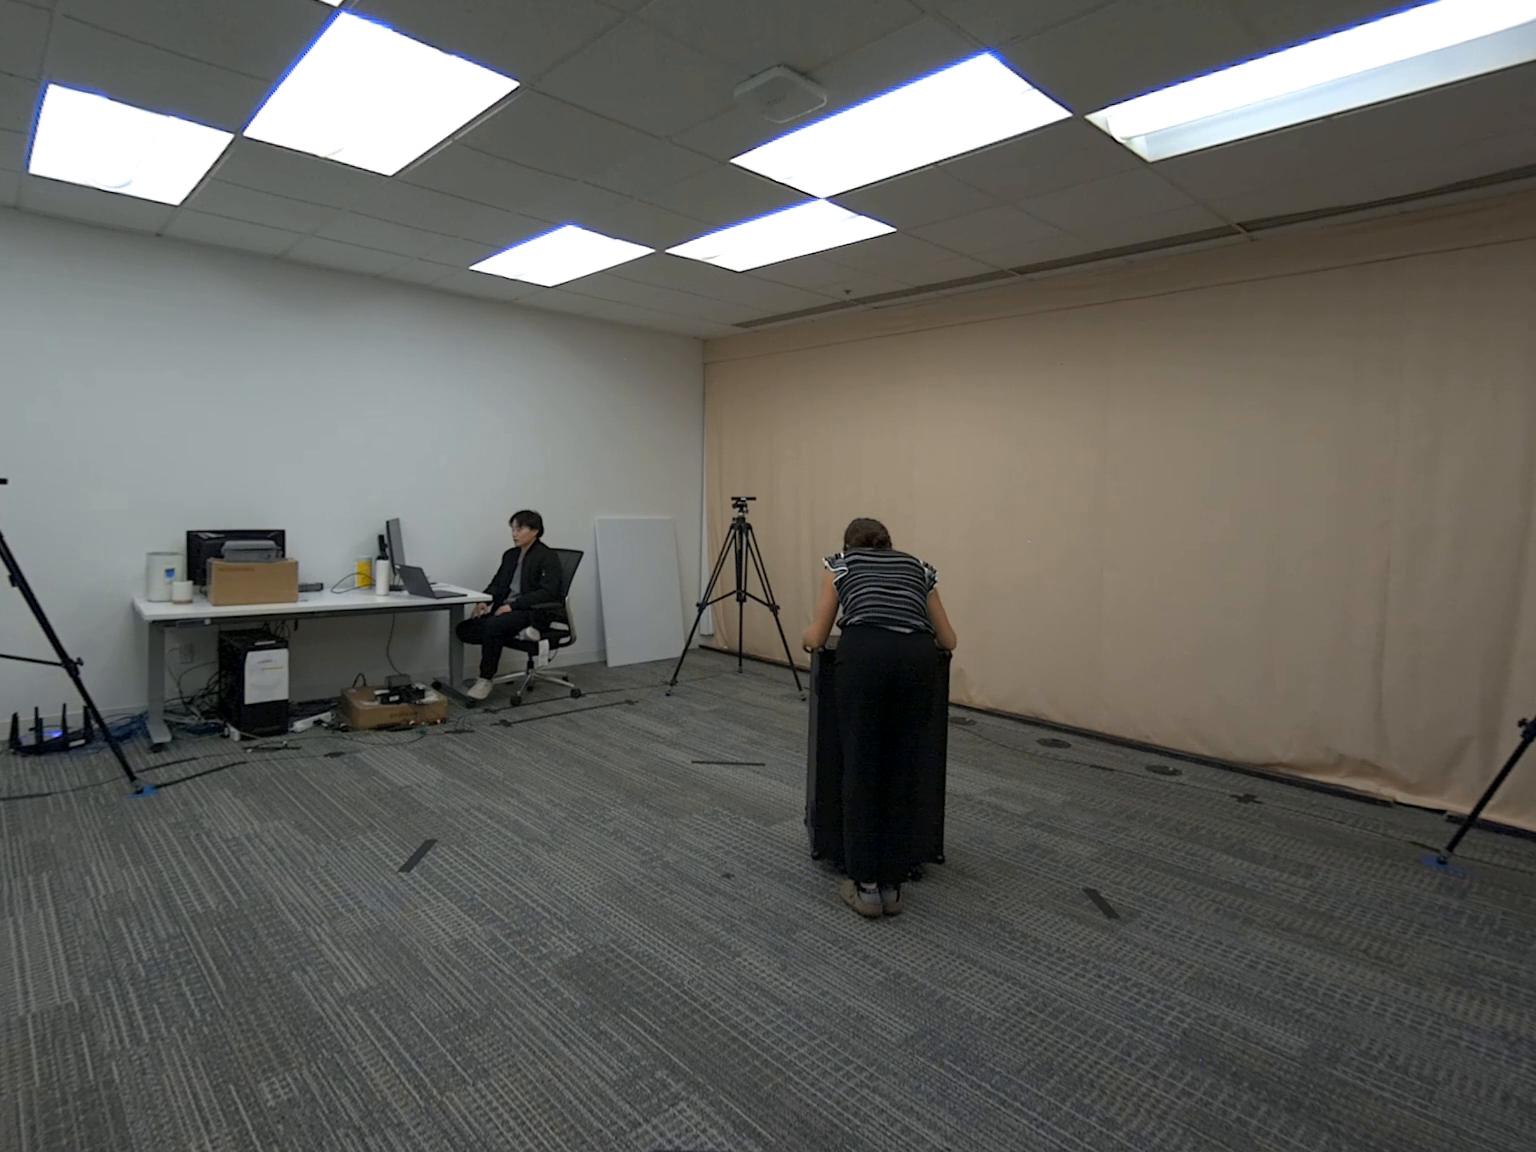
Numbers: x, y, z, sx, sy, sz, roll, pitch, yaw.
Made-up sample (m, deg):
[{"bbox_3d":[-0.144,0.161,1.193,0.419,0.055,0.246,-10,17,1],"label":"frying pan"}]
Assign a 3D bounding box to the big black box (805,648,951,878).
[{"bbox_3d":[0.395,0.685,3.260,0.521,0.860,0.397,1,2,-1],"label":"big black box"}]
